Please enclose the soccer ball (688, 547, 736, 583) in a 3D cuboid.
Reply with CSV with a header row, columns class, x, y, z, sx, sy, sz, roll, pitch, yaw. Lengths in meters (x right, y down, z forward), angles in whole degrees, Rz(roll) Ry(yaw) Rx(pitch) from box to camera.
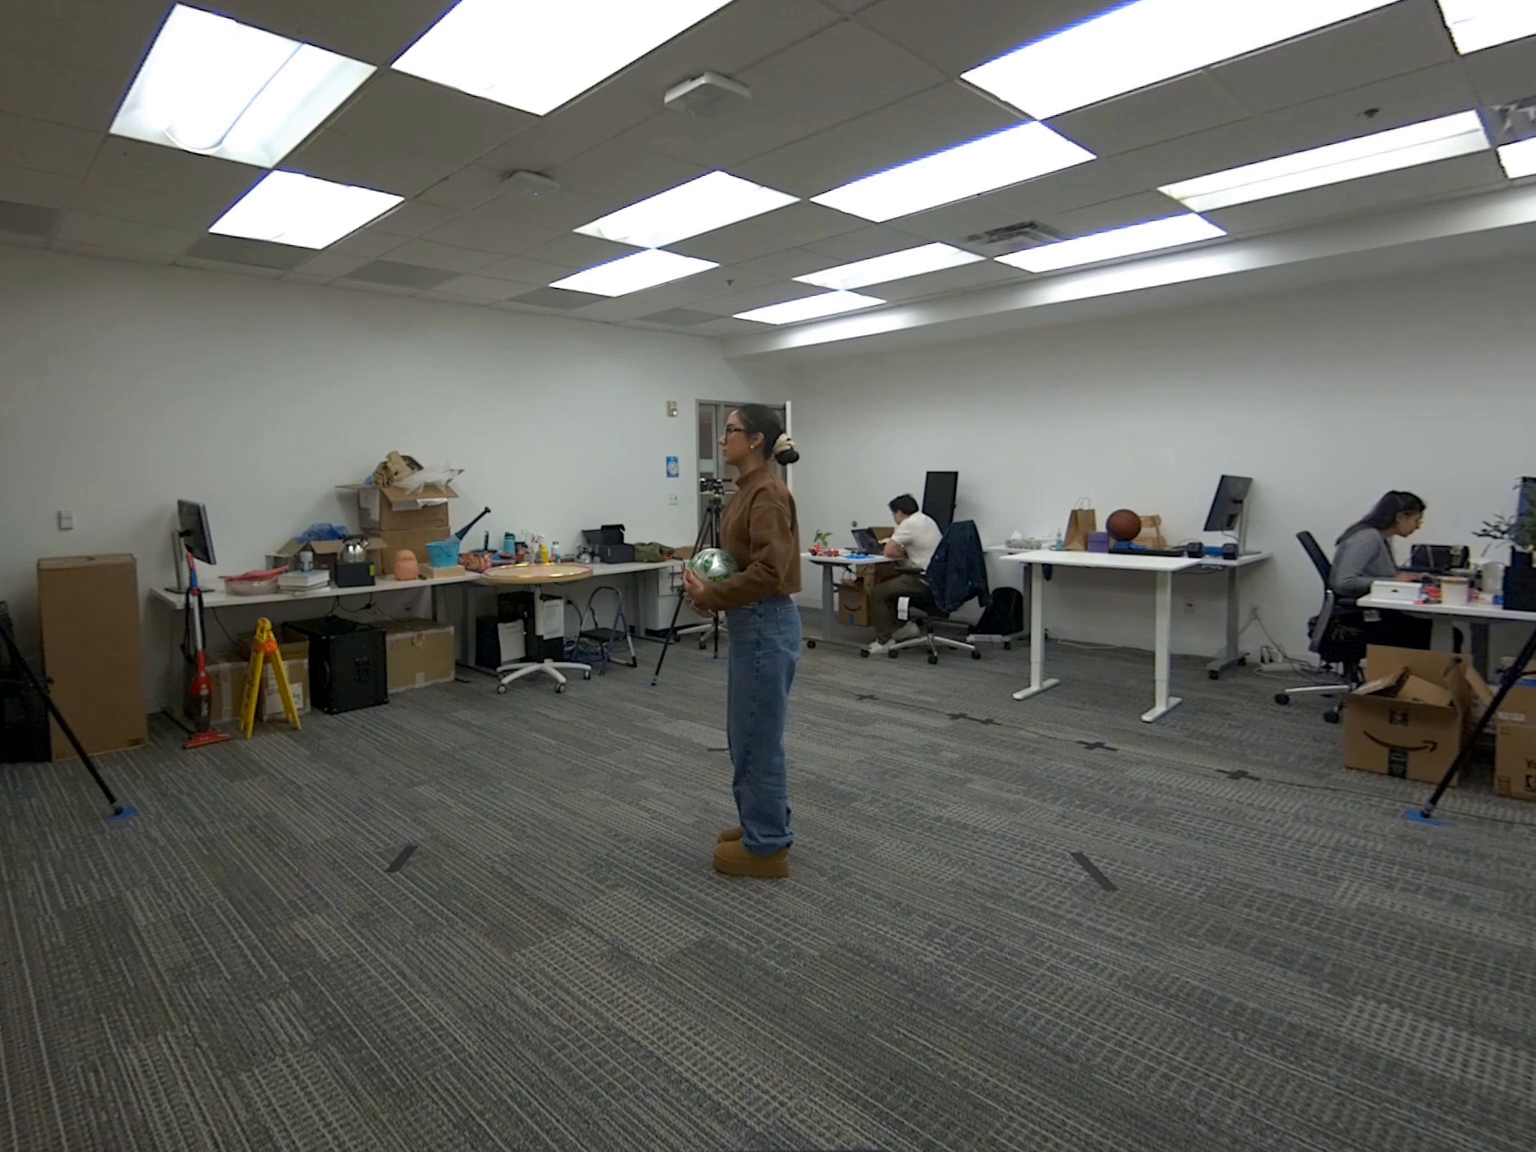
class,x,y,z,sx,sy,sz,roll,pitch,yaw
soccer ball,-0.182,0.002,2.932,0.187,0.187,0.188,-1,5,-2
